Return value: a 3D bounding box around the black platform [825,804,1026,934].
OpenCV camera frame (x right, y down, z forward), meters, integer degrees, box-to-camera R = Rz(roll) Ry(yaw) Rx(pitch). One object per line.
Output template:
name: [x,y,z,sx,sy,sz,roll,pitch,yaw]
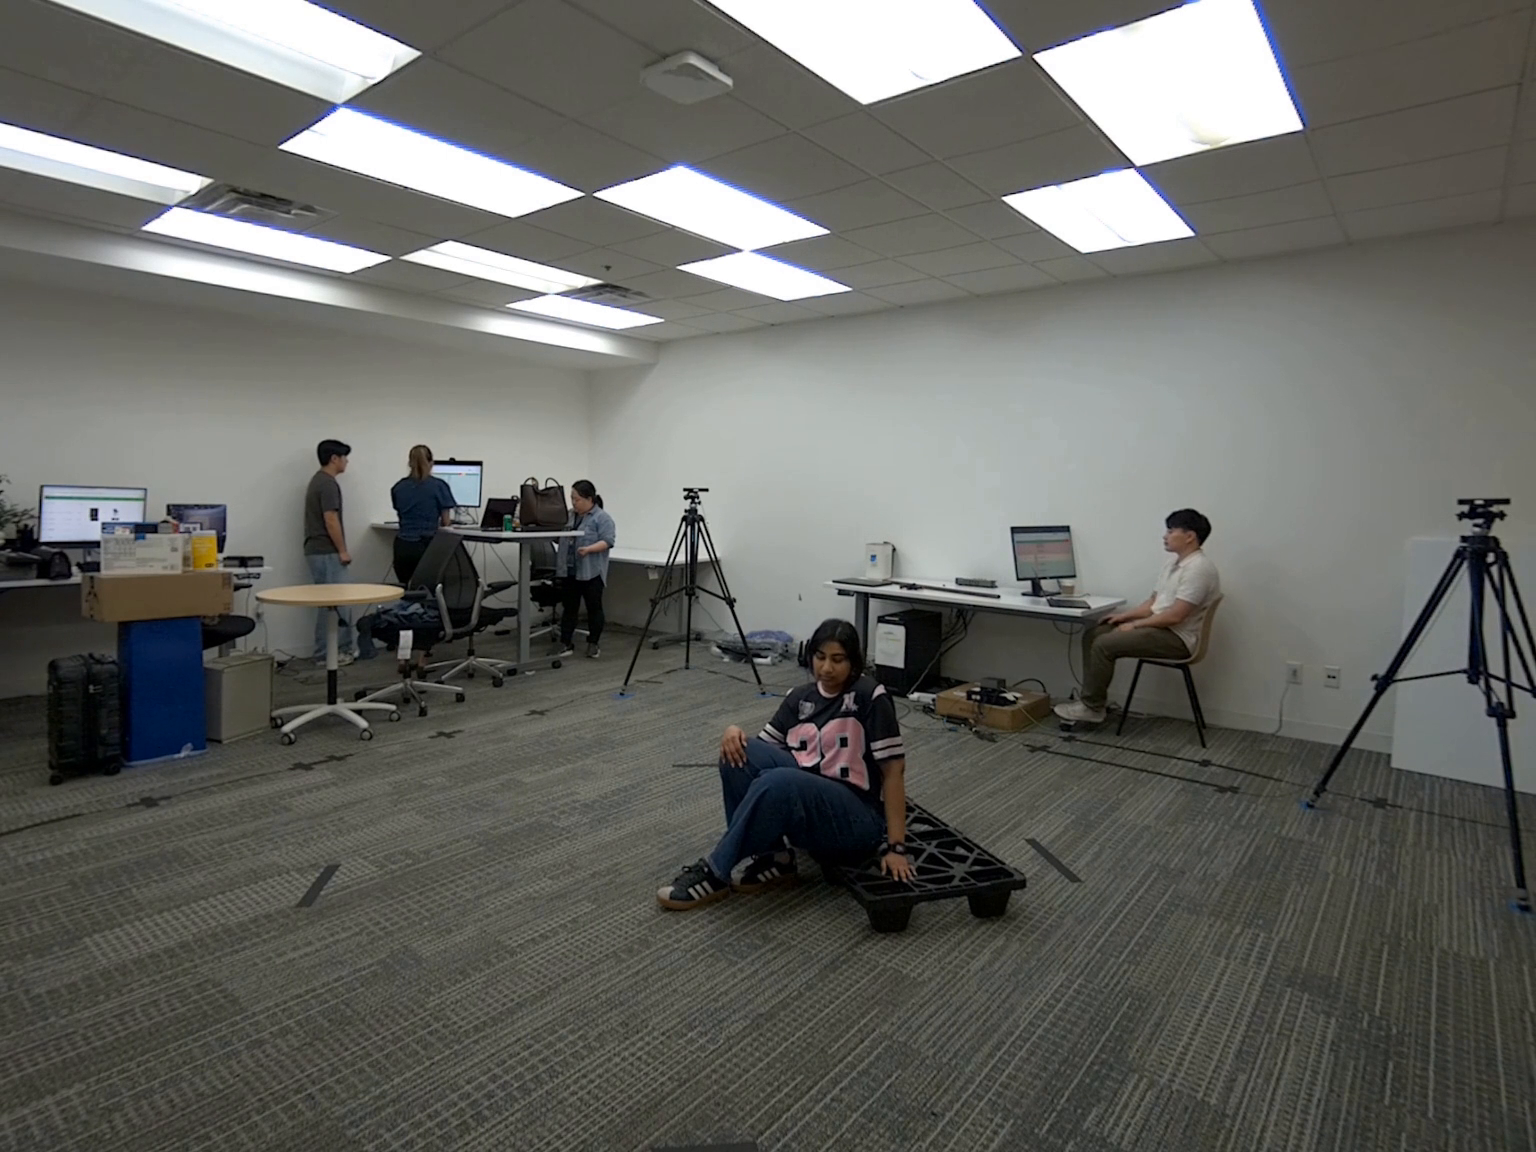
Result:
black platform: [0.431,1.018,3.084,0.594,0.143,0.824,-1,5,-20]
